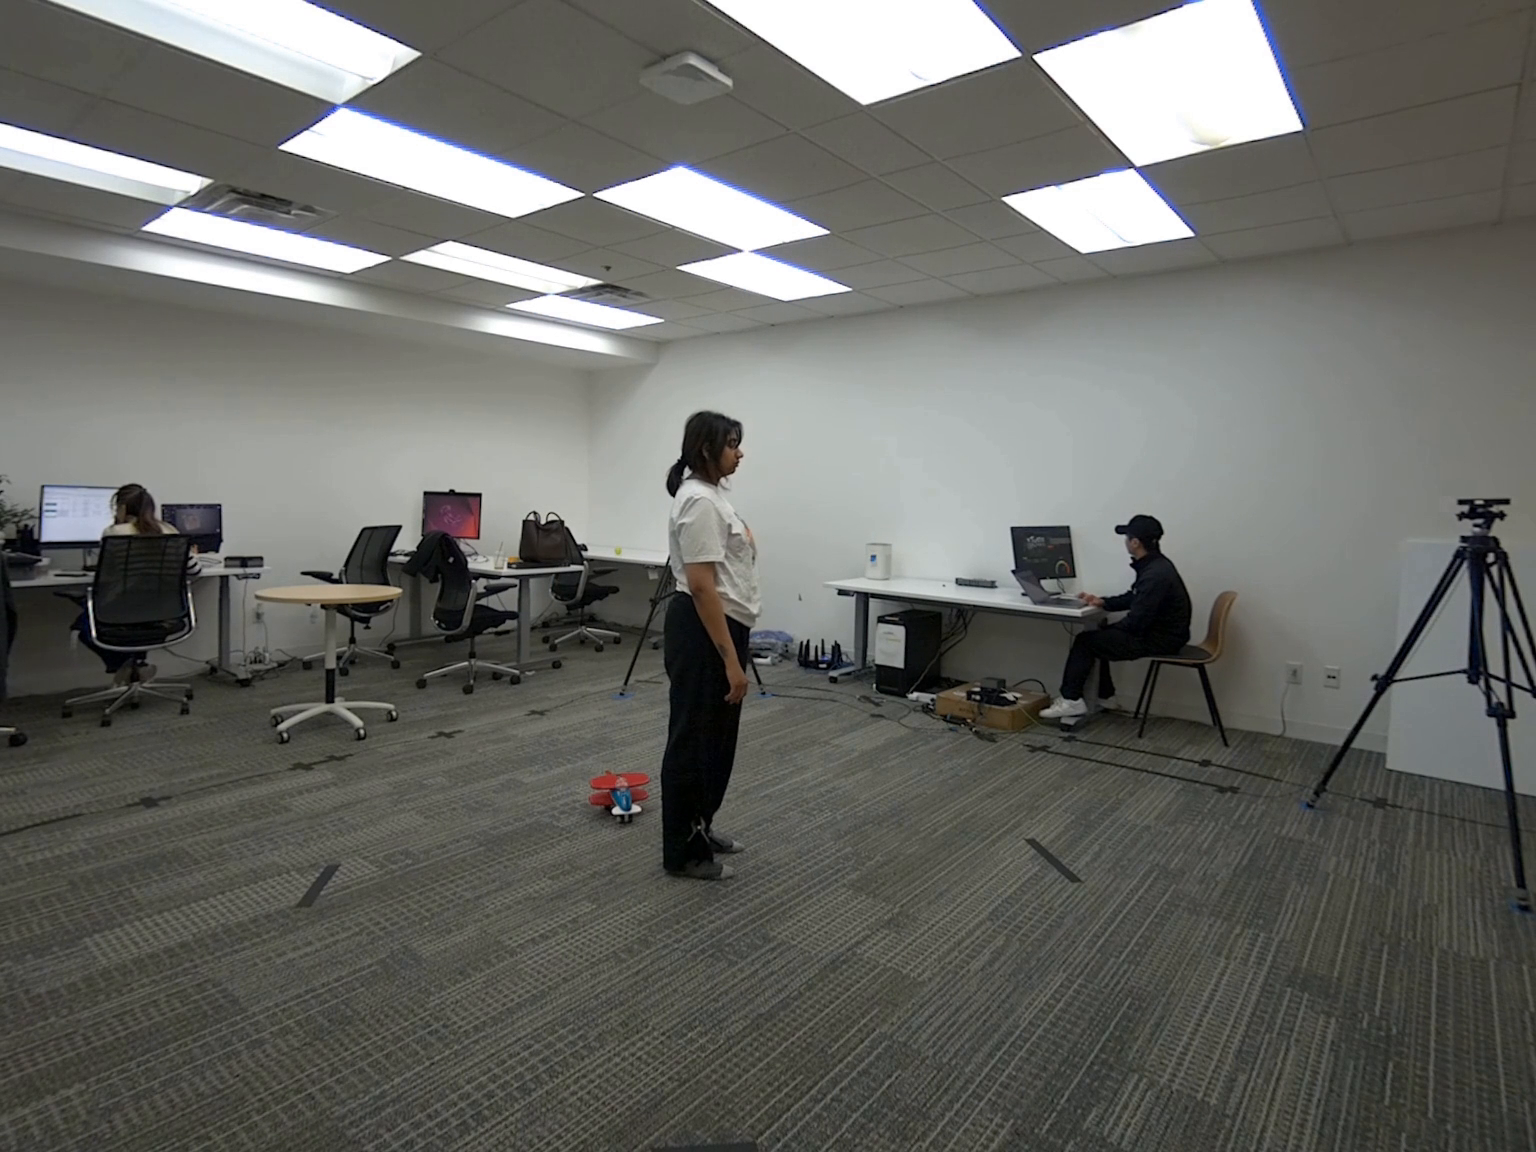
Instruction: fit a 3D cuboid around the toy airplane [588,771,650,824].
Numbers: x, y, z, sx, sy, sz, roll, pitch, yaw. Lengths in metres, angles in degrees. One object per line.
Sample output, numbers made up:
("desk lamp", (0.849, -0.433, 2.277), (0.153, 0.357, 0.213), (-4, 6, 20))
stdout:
("toy airplane", (-0.626, 0.940, 3.631), (0.268, 0.156, 0.243), (5, 6, 42))
